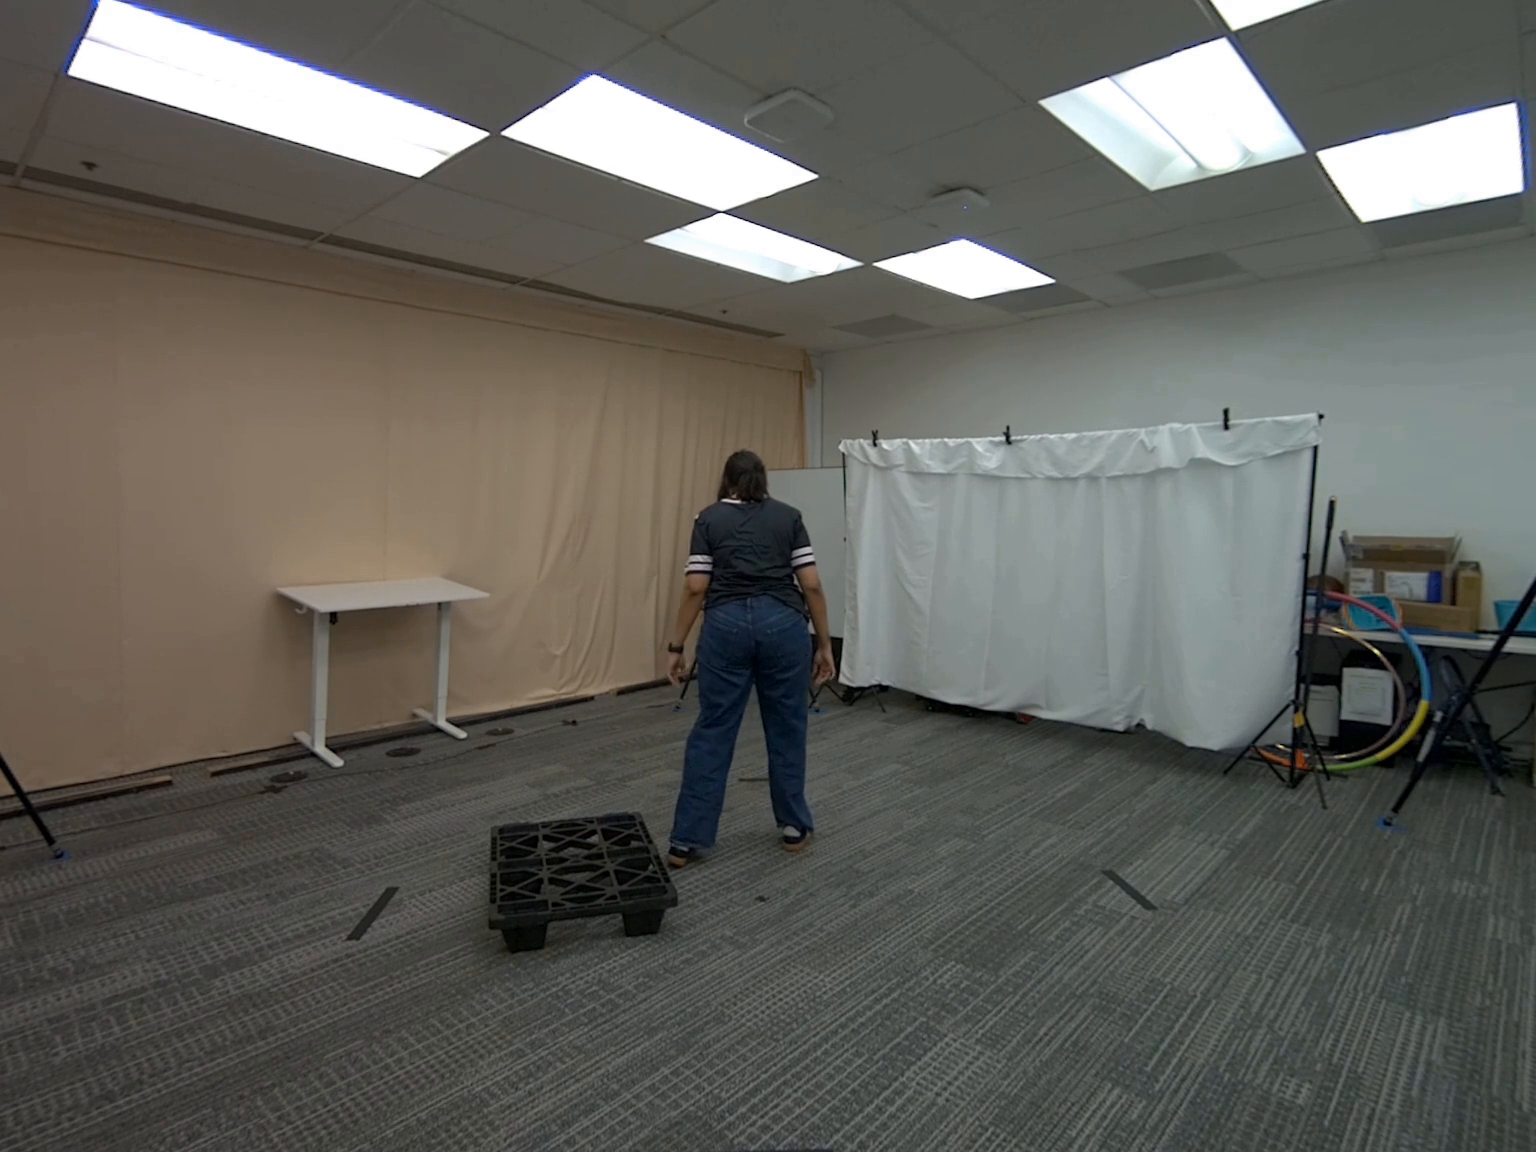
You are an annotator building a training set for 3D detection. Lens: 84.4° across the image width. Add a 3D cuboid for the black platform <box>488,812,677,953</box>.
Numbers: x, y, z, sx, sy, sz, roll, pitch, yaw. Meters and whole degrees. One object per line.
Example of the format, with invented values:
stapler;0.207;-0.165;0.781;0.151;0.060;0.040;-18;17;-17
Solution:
black platform;-0.694;1.080;3.038;0.595;0.143;0.821;-1;5;-17
